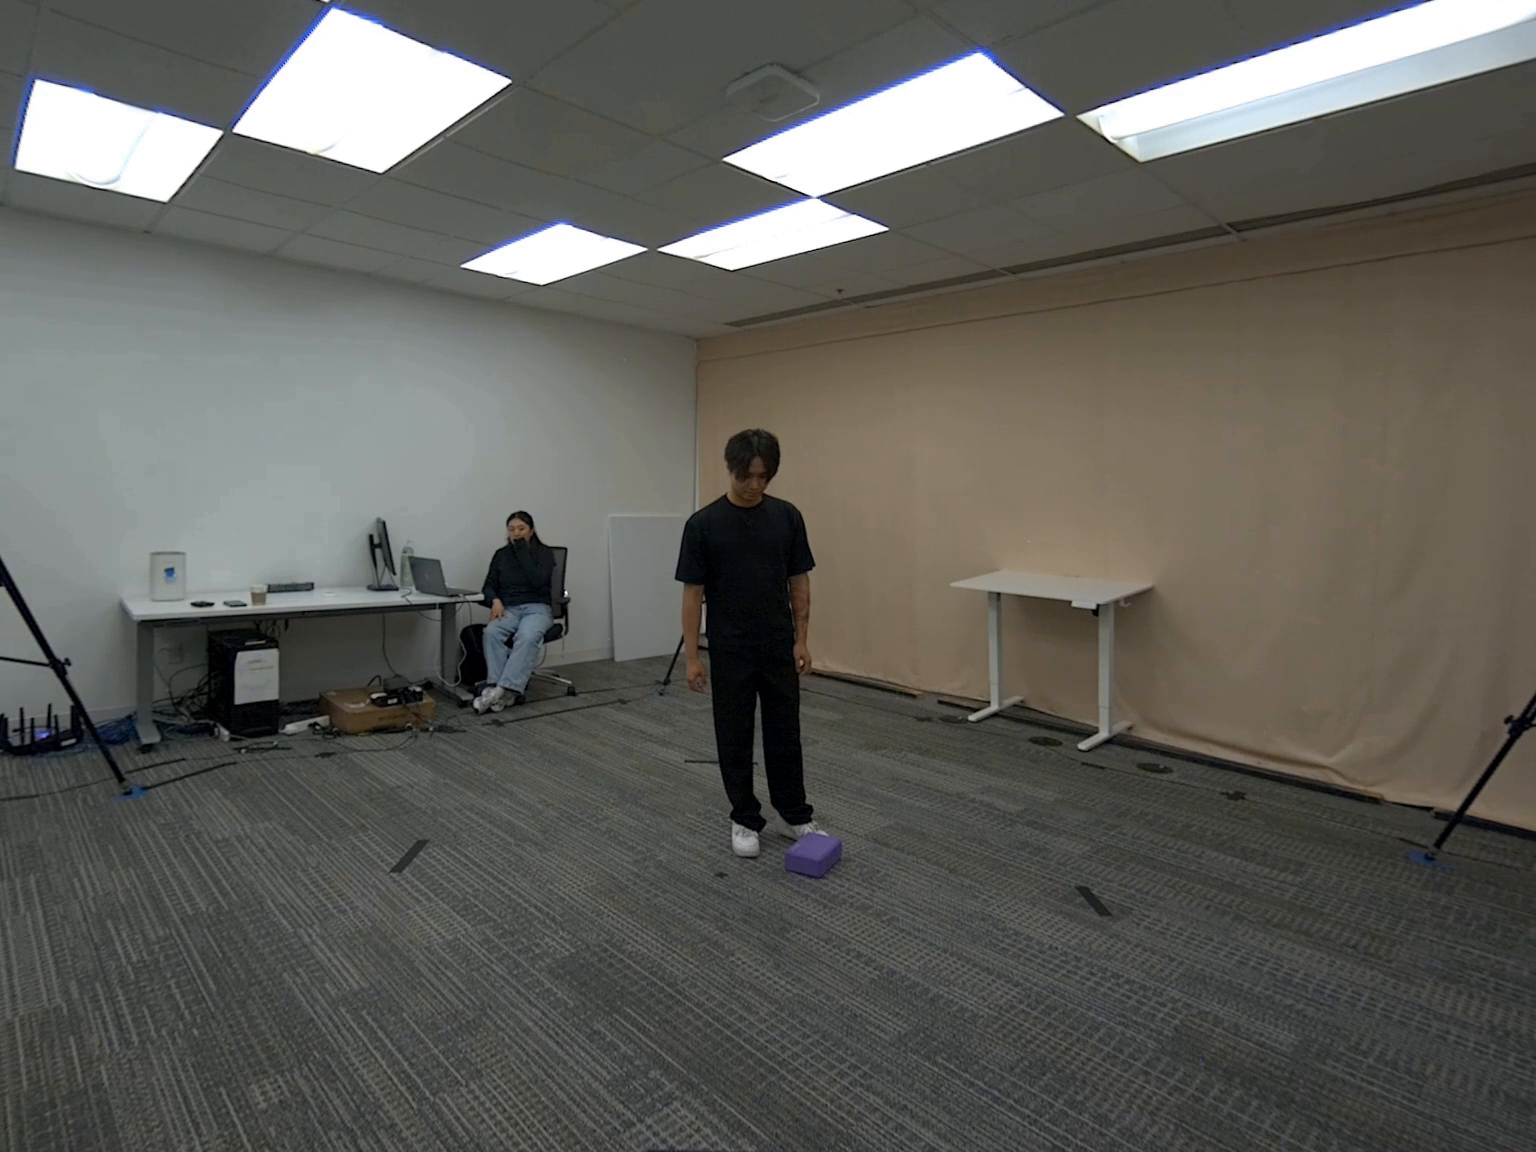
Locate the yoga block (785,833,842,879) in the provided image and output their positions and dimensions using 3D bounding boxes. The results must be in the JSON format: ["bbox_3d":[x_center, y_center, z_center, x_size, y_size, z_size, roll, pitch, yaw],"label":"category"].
[{"bbox_3d":[0.162,1.060,3.210,0.152,0.076,0.225,3,5,27],"label":"yoga block"}]
